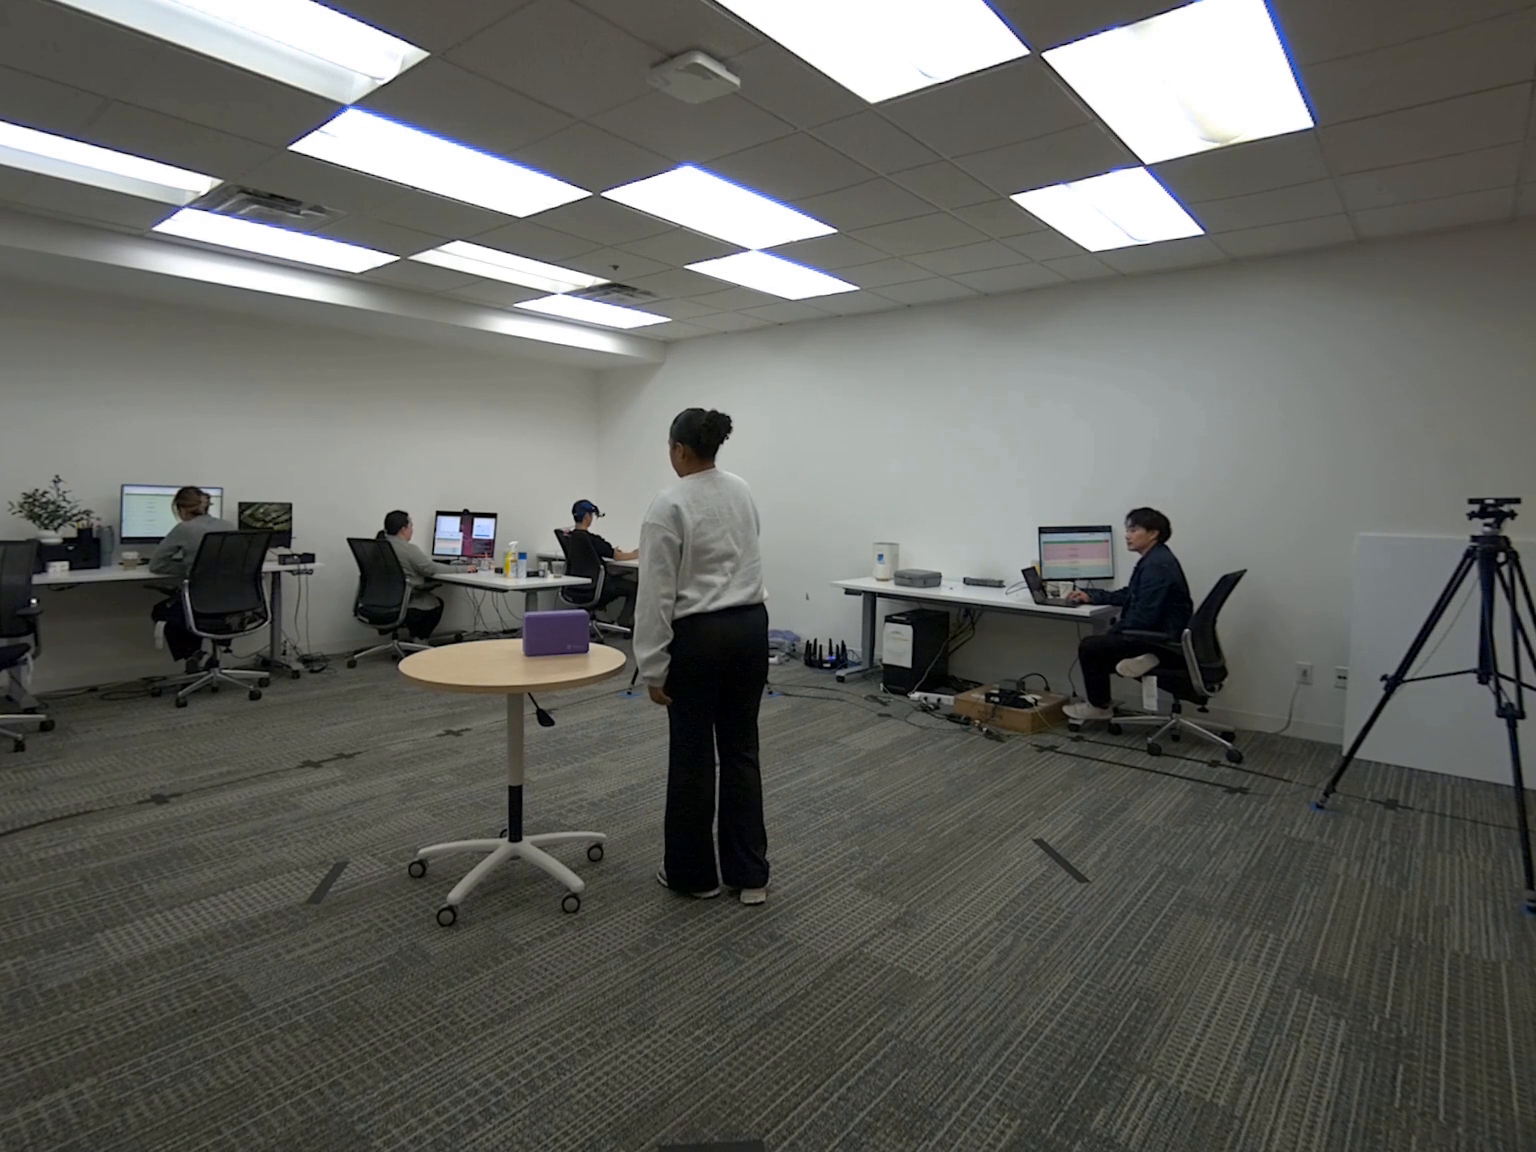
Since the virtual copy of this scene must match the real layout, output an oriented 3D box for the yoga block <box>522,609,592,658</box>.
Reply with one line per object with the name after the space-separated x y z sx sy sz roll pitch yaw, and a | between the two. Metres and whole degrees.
-0.780 0.205 3.066 0.225 0.148 0.078 -2 3 -19 | yoga block
